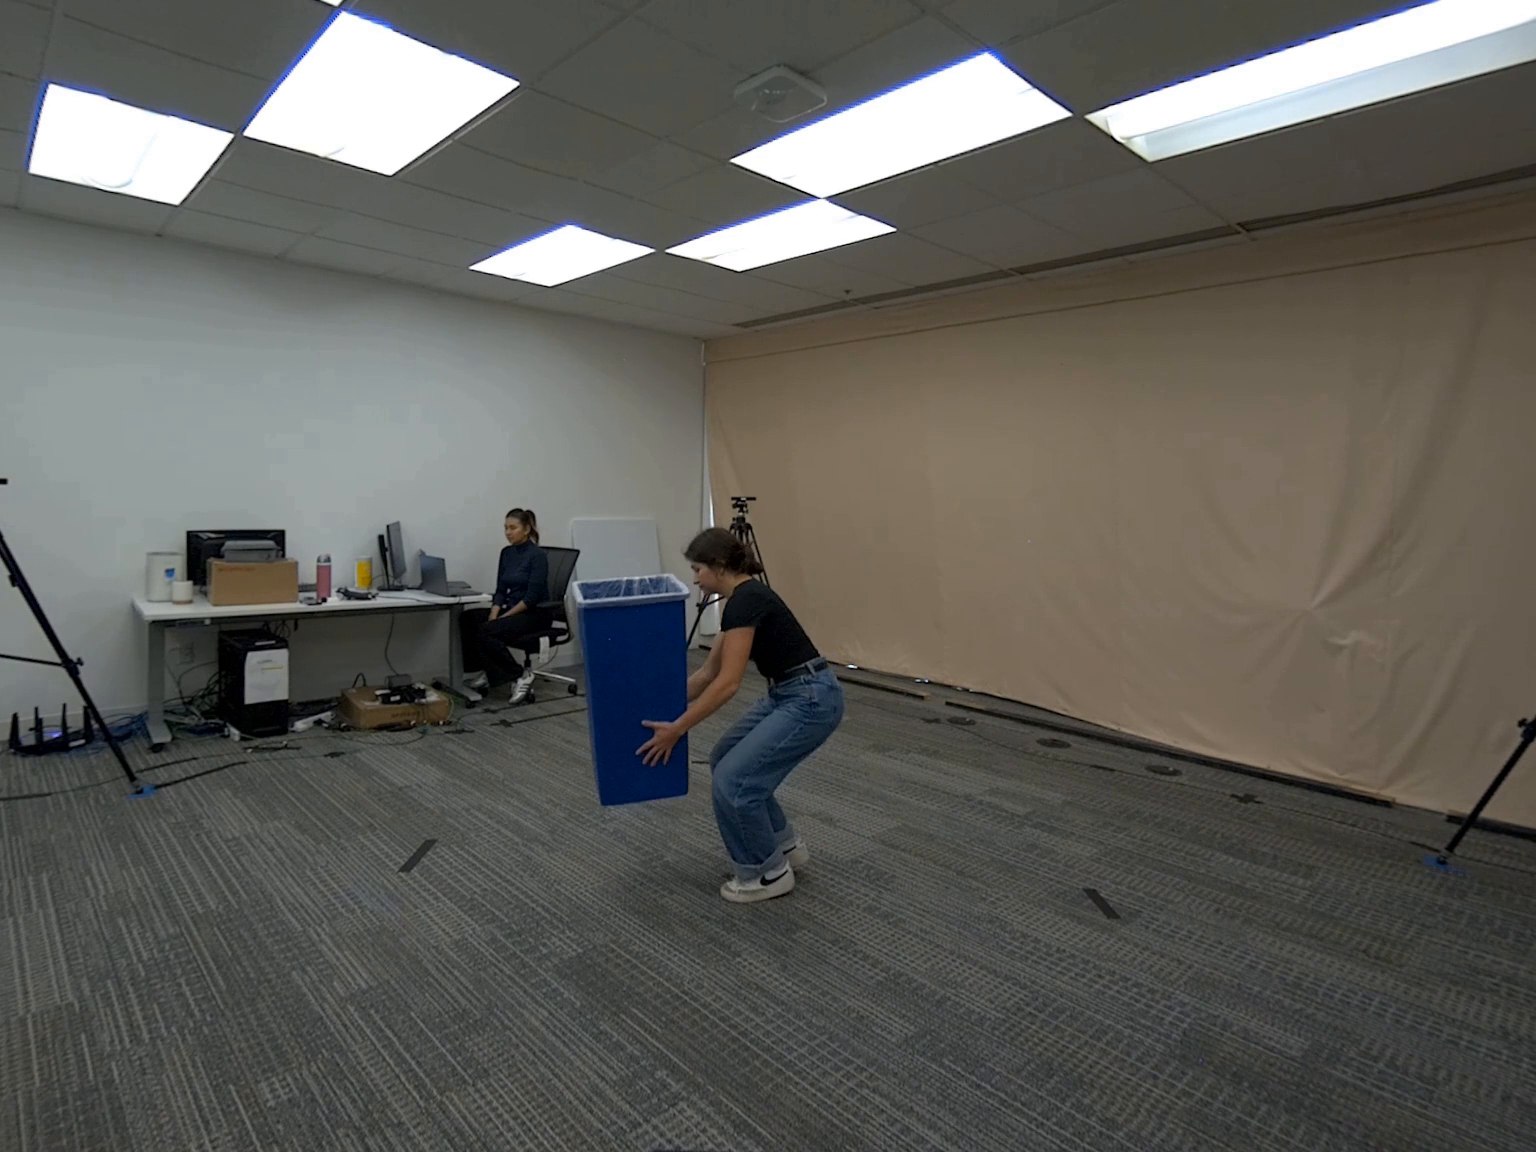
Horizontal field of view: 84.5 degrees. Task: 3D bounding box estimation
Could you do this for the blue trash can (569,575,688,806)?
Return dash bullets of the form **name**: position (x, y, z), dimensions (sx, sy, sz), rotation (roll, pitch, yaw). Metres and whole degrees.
- **blue trash can**: position (-0.467, 0.385, 2.927), dimensions (0.374, 0.709, 0.380), rotation (-5, 9, -14)
